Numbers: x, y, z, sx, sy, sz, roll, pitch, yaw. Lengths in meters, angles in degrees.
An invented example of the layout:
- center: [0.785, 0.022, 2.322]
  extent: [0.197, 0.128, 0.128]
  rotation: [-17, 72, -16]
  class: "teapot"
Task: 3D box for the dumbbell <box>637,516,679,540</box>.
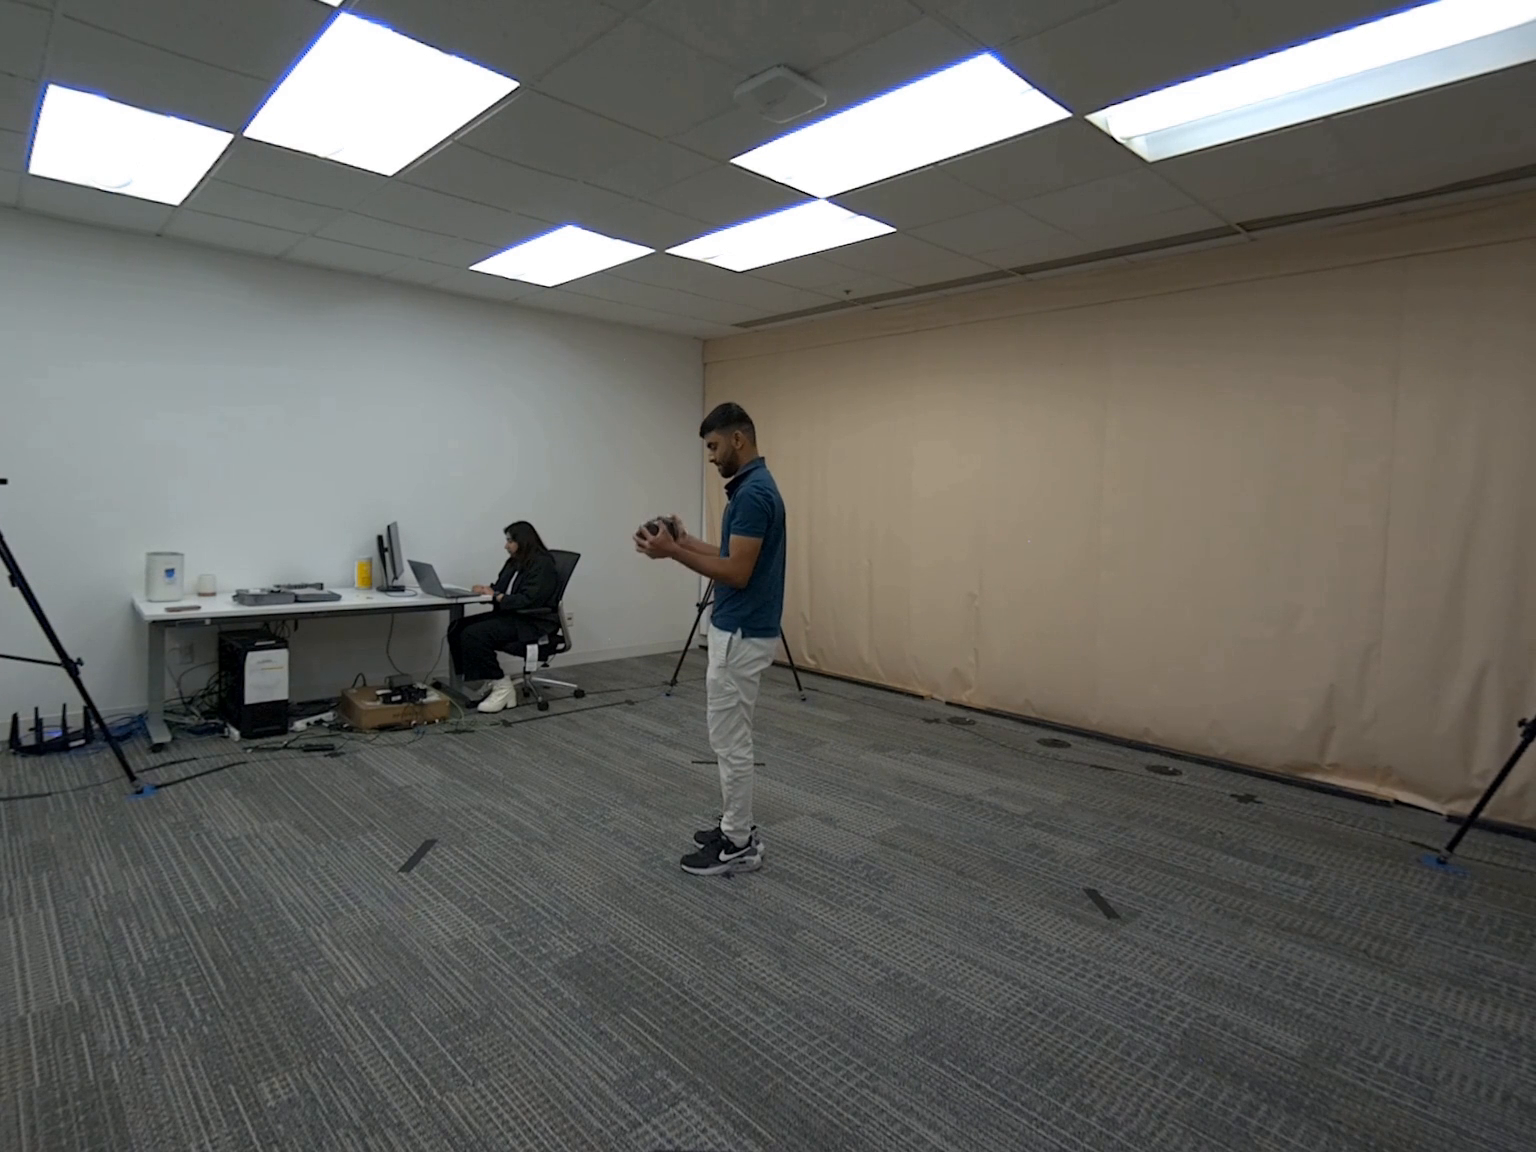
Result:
- center: [-0.400, -0.144, 3.166]
  extent: [0.109, 0.123, 0.293]
  rotation: [38, 9, 0]
  class: "dumbbell"
